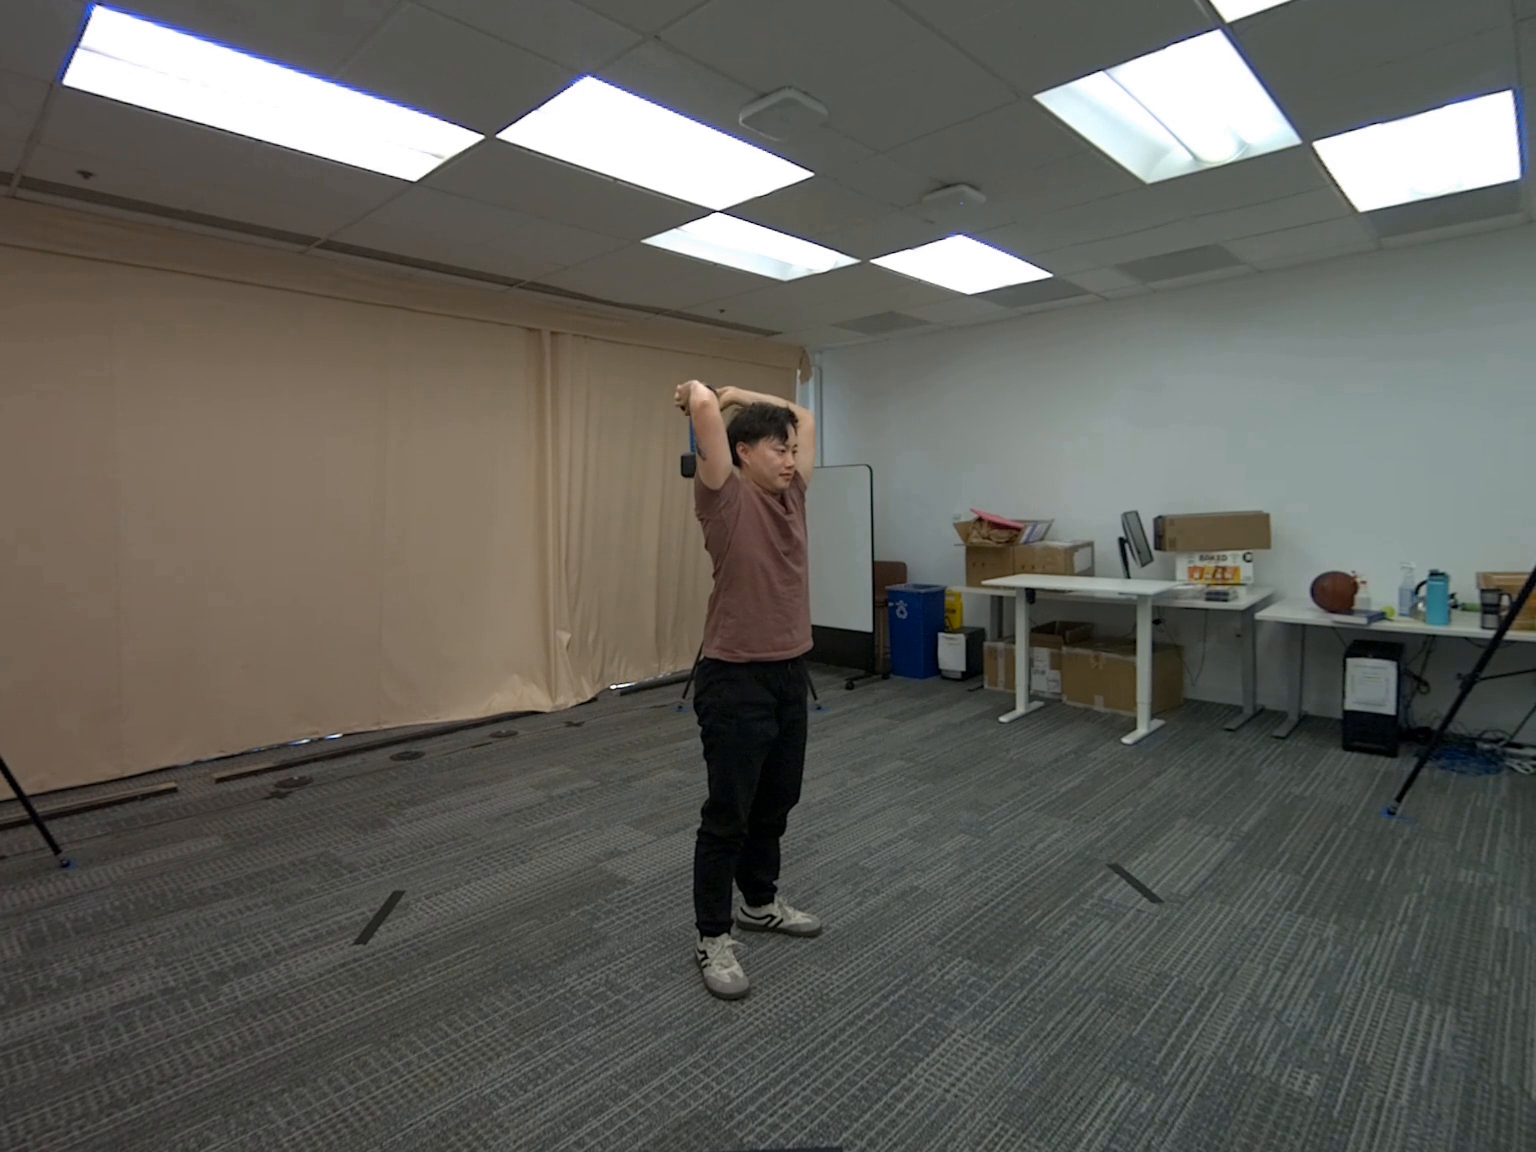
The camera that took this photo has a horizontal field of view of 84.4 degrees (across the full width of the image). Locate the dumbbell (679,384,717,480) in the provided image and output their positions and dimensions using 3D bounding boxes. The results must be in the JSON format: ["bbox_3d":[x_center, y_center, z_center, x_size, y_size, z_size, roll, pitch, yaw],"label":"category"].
[{"bbox_3d":[-0.210,-0.464,2.695,0.127,0.292,0.105,8,7,44],"label":"dumbbell"}]
